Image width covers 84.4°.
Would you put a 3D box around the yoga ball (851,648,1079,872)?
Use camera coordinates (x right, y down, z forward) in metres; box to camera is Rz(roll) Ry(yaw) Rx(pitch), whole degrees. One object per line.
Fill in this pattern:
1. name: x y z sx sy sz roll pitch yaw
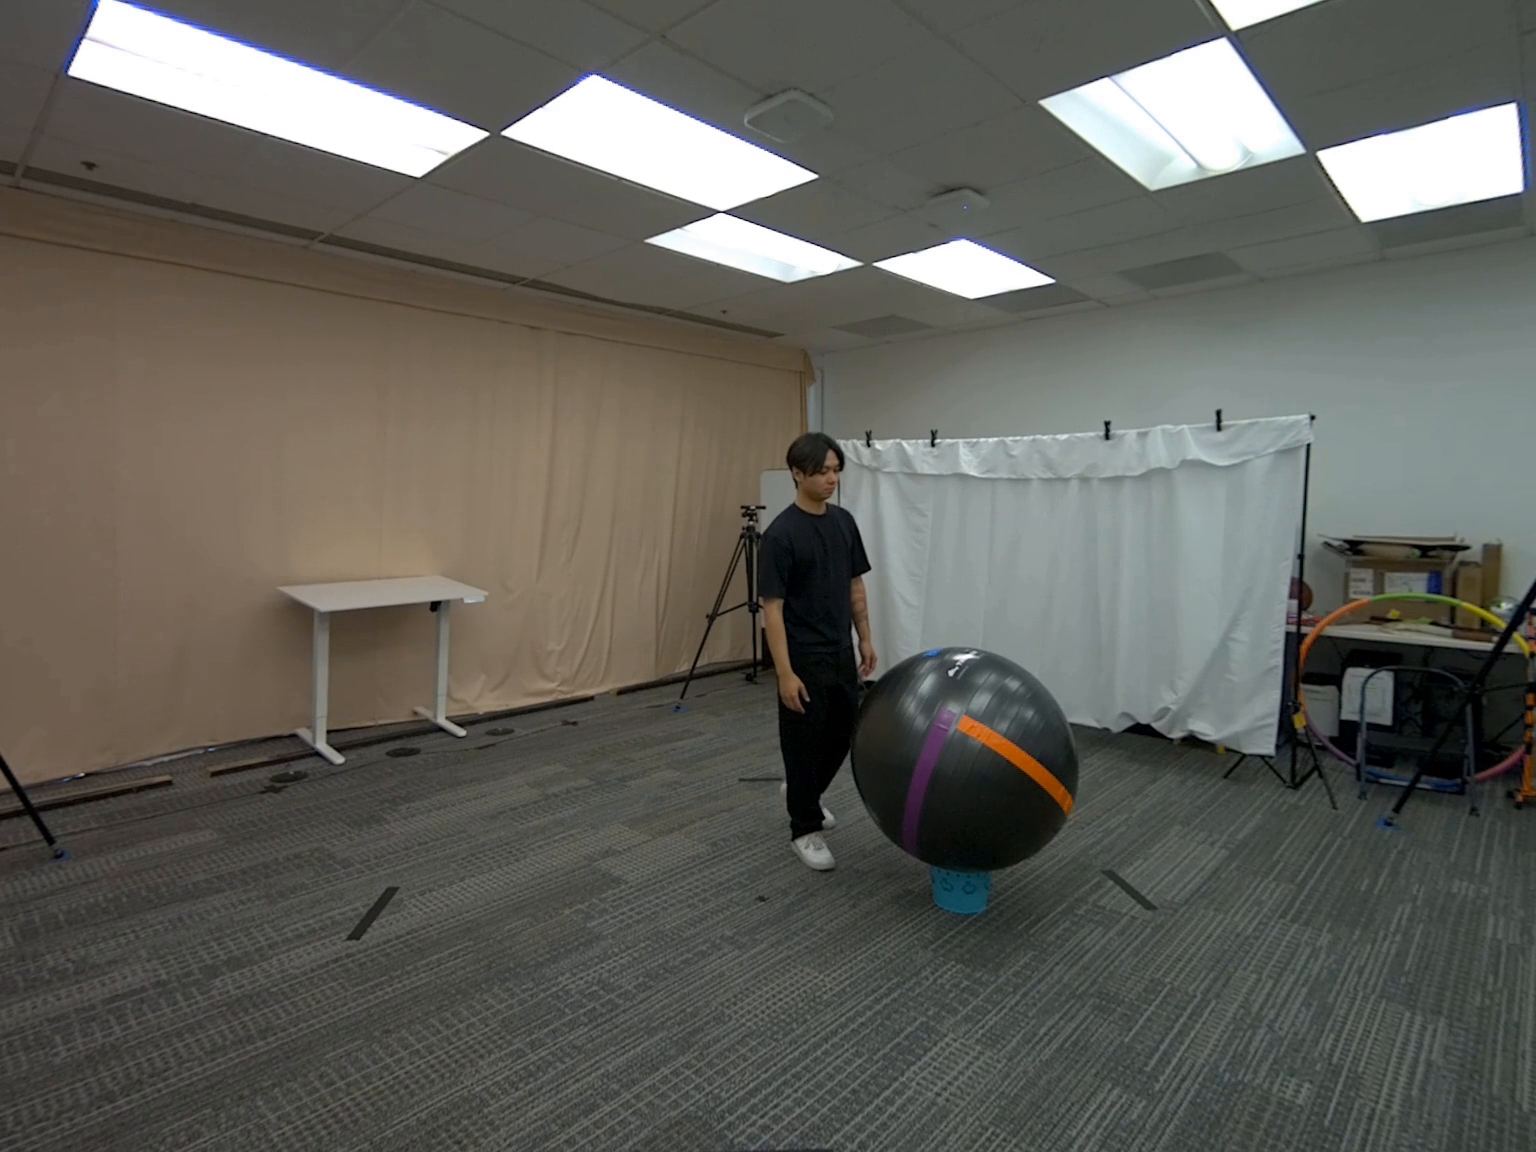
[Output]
1. yoga ball: 0.683 0.636 2.929 0.757 0.756 0.760 0 4 -2
